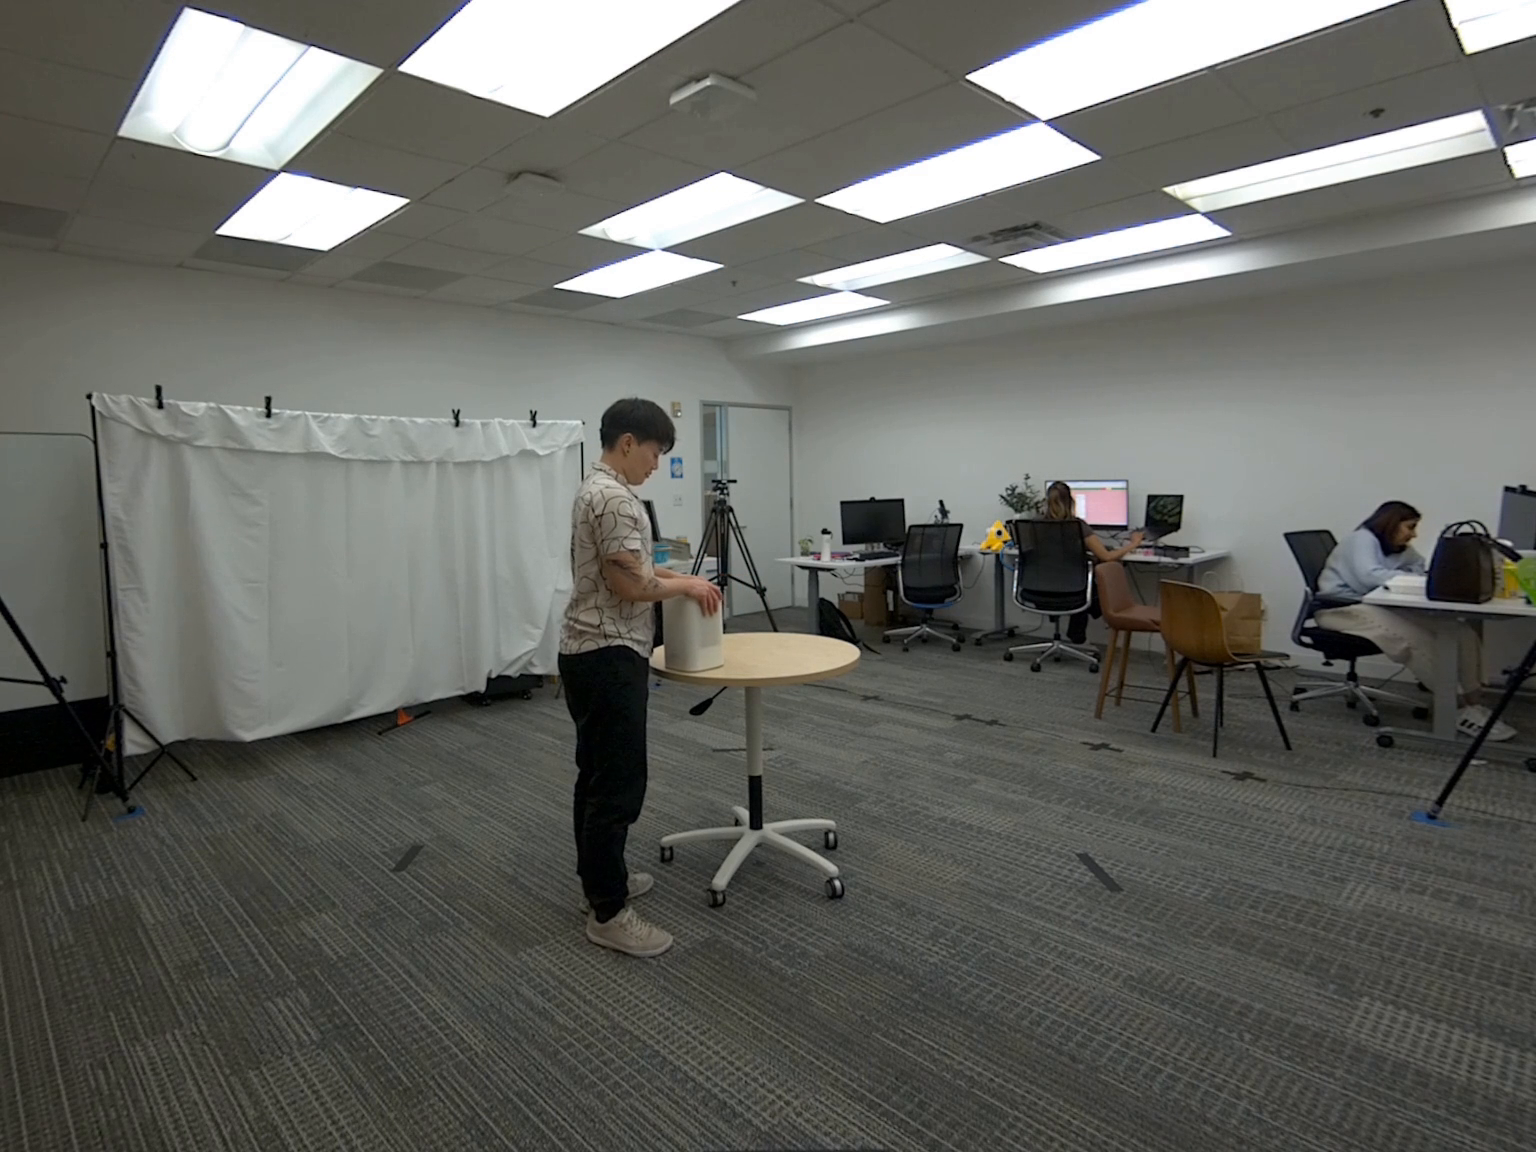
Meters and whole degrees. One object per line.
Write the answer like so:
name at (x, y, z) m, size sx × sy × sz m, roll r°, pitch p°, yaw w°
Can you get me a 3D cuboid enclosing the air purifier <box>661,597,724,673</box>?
air purifier at (-0.245, 0.170, 2.856) m, size 0.167 × 0.264 × 0.176 m, roll -9°, pitch 8°, yaw -41°
